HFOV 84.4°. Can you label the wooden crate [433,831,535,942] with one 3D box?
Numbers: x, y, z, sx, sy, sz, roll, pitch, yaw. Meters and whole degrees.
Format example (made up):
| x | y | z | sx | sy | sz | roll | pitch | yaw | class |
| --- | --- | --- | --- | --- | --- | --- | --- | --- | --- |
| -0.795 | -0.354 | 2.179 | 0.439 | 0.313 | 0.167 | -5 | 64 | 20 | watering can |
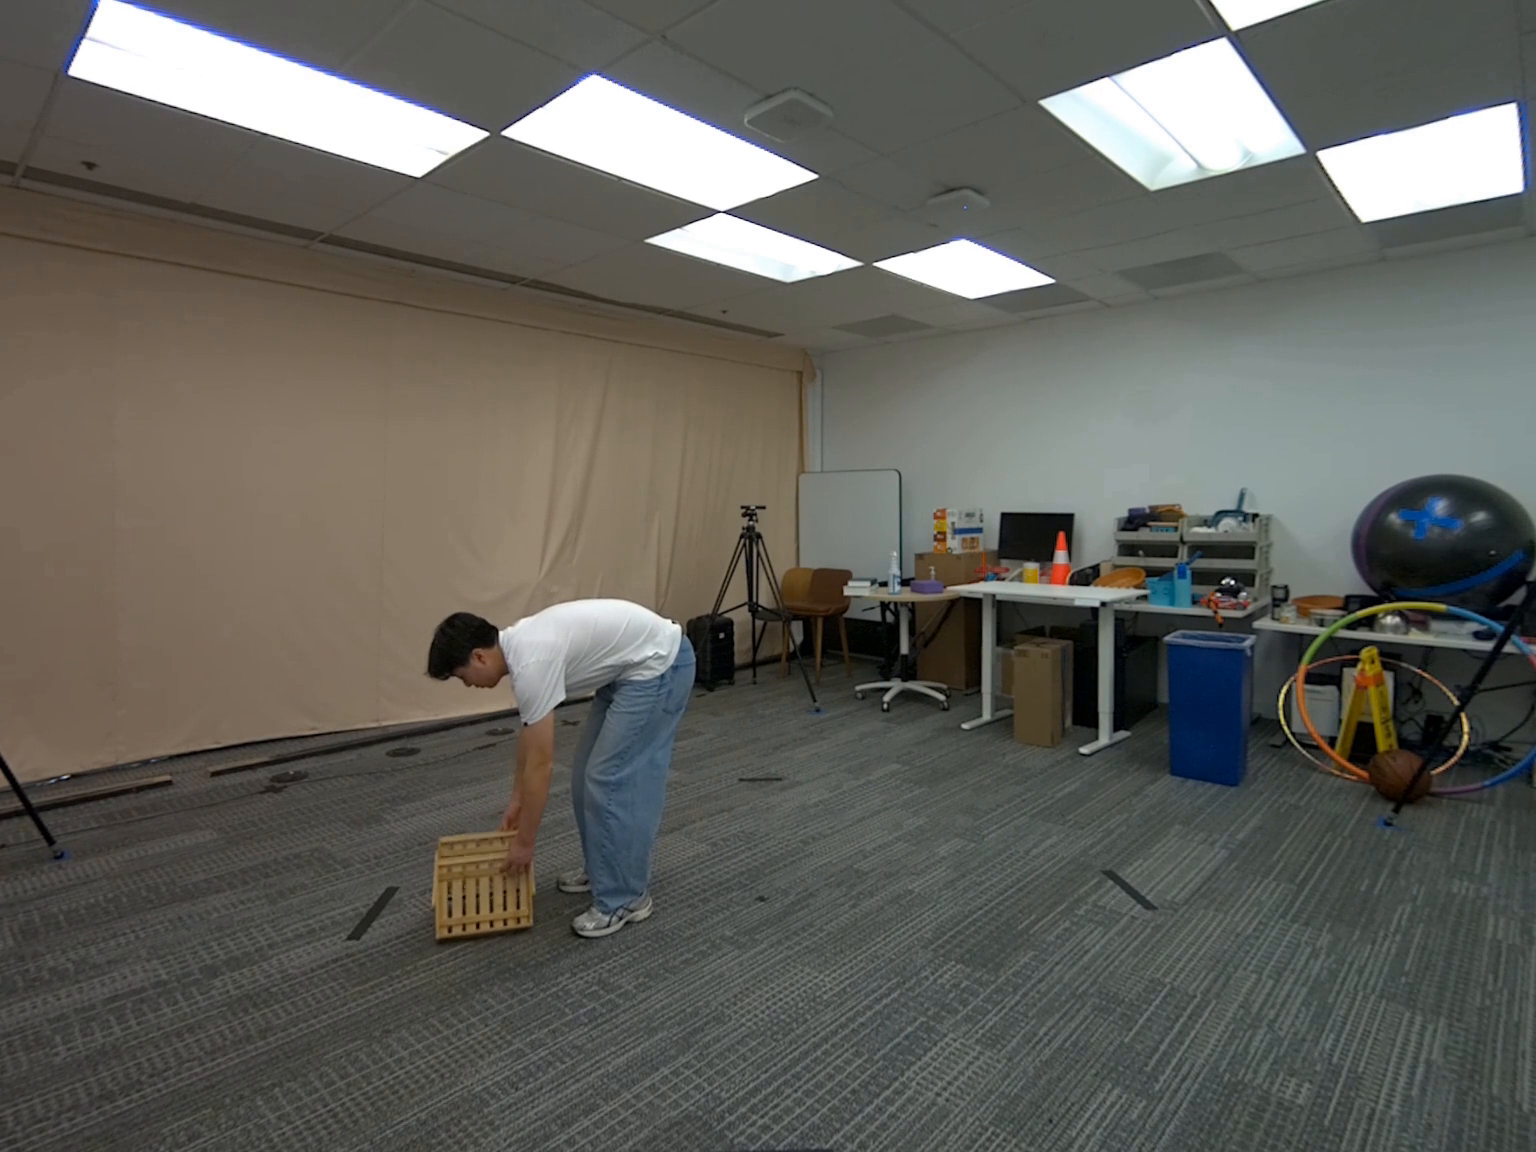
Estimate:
| x | y | z | sx | sy | sz | roll | pitch | yaw | class |
| --- | --- | --- | --- | --- | --- | --- | --- | --- | --- |
| -0.971 | 1.041 | 2.850 | 0.319 | 0.304 | 0.276 | -2 | -10 | -17 | wooden crate |
